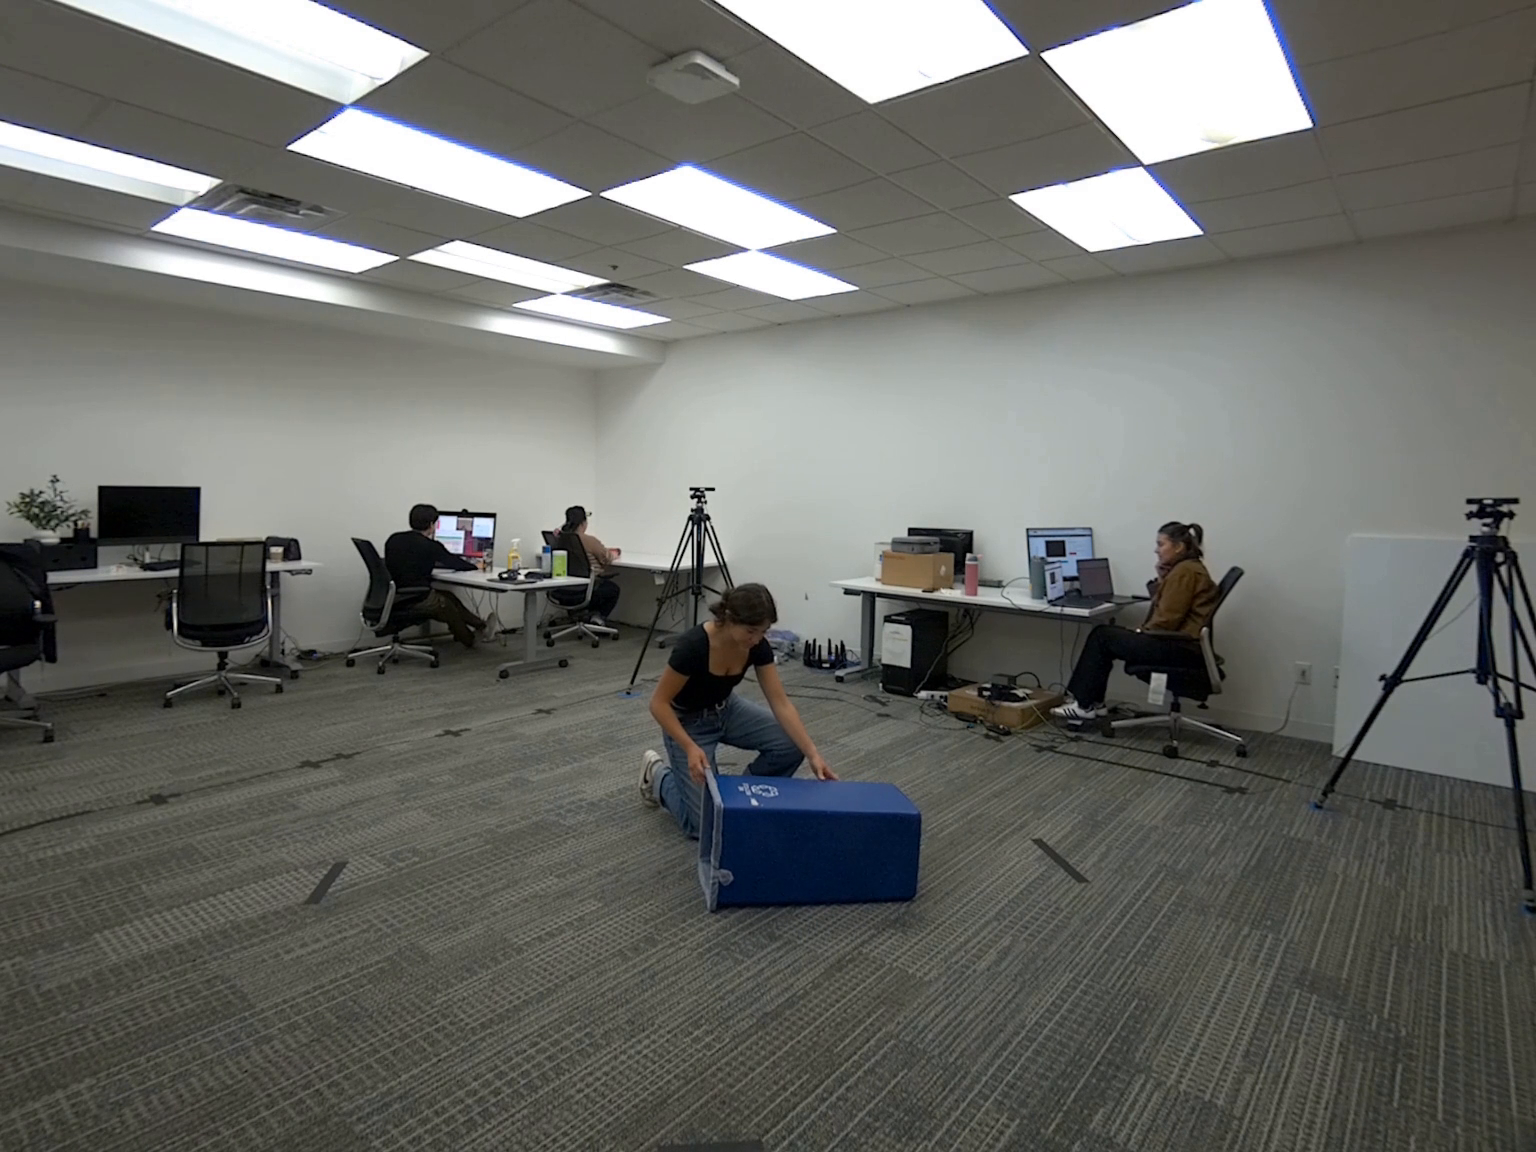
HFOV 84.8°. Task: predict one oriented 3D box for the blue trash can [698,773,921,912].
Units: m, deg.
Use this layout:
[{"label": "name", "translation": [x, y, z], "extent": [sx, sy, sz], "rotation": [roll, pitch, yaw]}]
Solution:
[{"label": "blue trash can", "translation": [0.128, 0.919, 2.989], "extent": [0.707, 0.377, 0.379], "rotation": [3, 3, -9]}]
